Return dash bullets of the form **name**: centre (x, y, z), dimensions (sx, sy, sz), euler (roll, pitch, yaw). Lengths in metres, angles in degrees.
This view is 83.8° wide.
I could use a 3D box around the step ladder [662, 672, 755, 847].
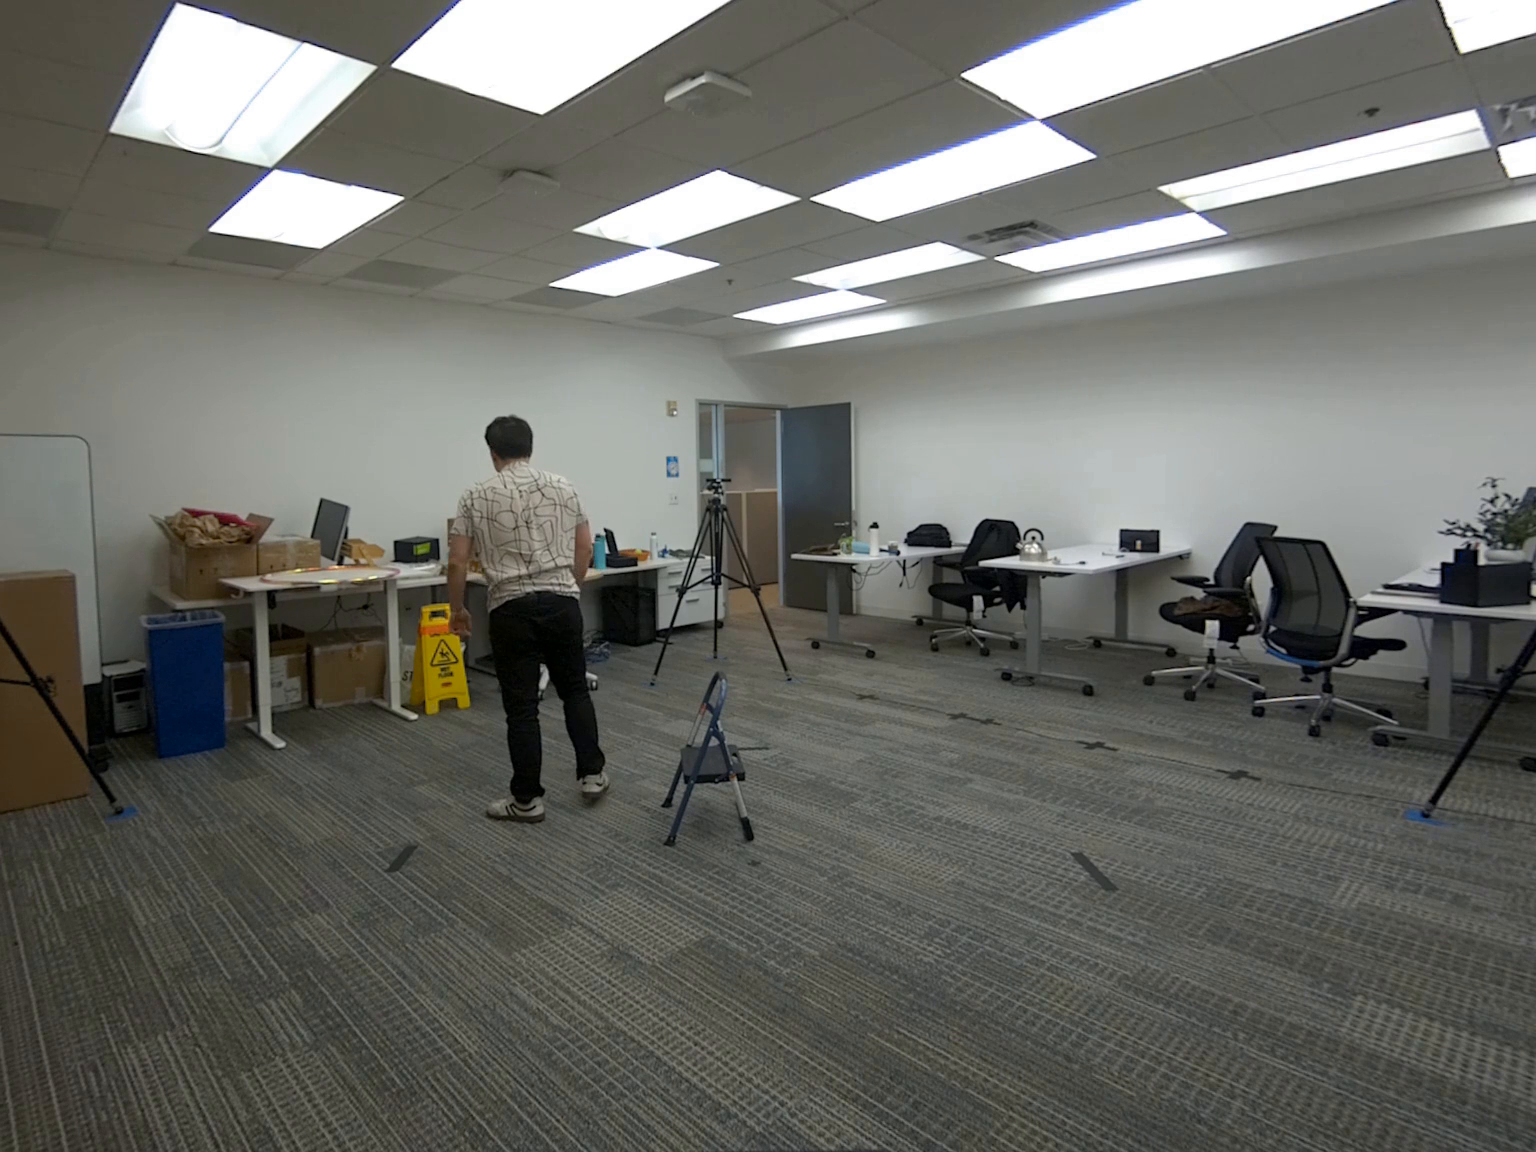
- **step ladder**: centre (-0.249, 0.708, 3.460), dimensions (0.347, 0.604, 0.435), euler (-1, 4, -7)
